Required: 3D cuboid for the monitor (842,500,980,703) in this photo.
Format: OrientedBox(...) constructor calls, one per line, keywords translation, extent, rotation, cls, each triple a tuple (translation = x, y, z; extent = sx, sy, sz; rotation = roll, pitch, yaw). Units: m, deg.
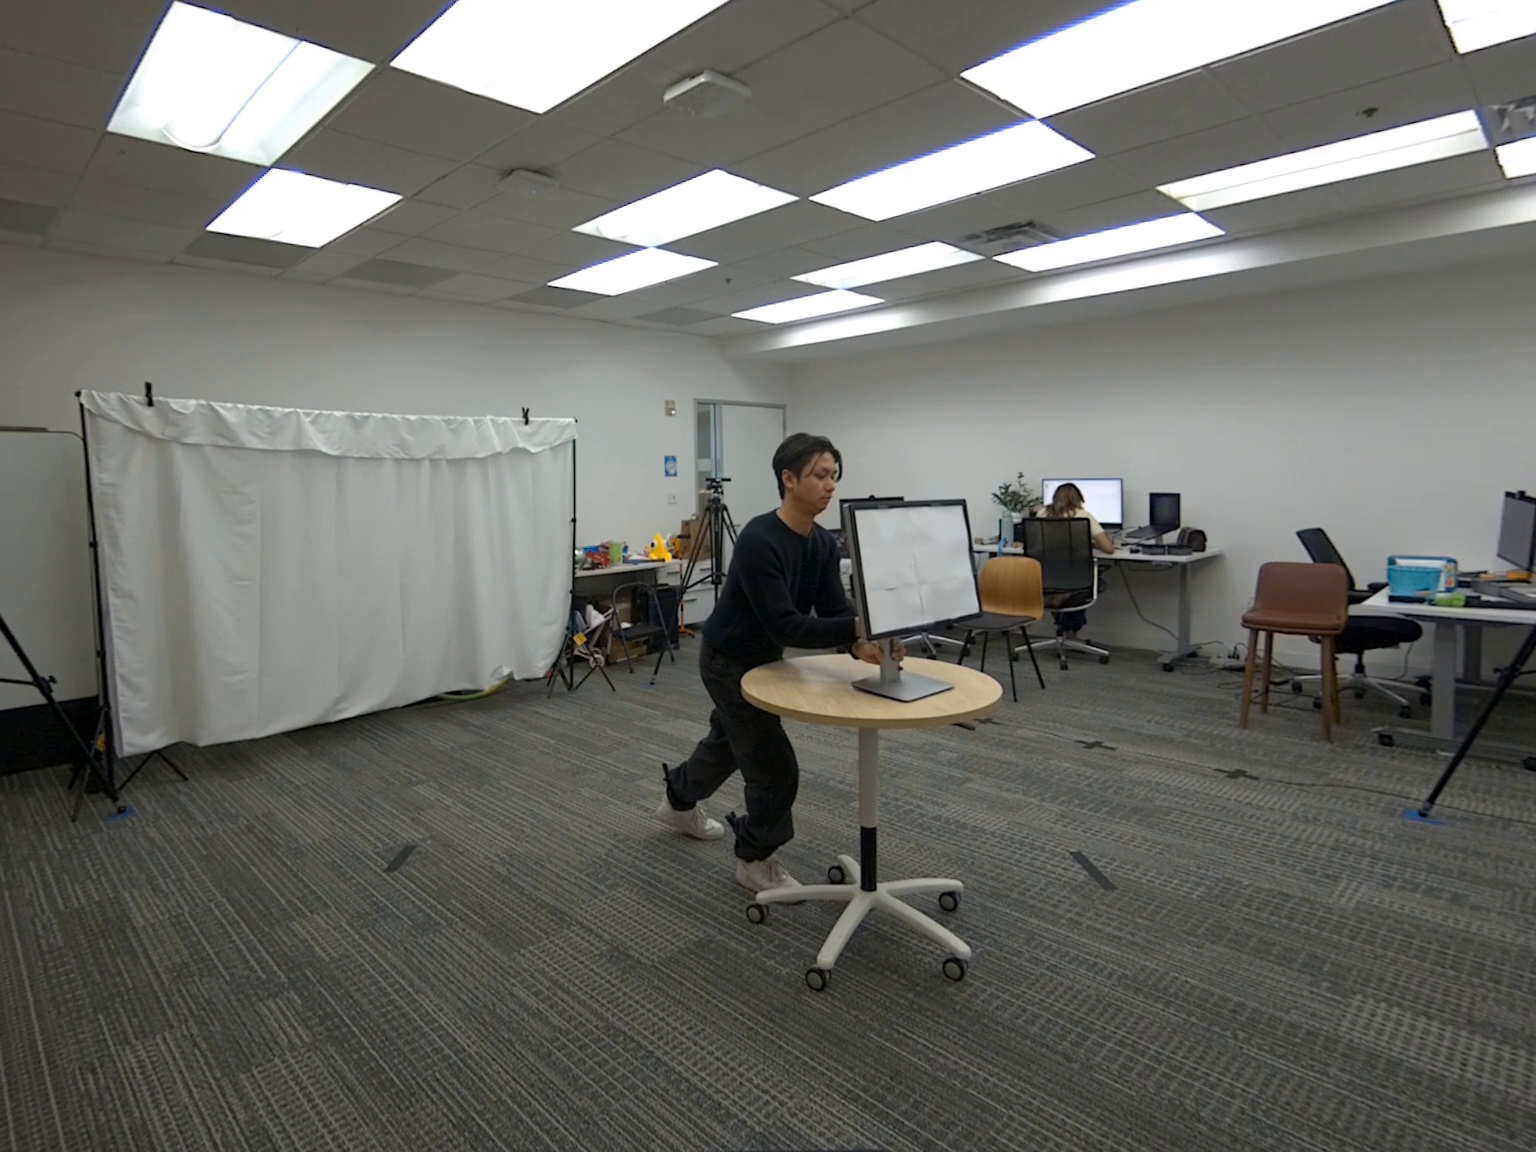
OrientedBox(translation=(0.399, 0.055, 2.449), extent=(0.515, 0.512, 0.181), rotation=(-3, 12, -44), cls="monitor")
